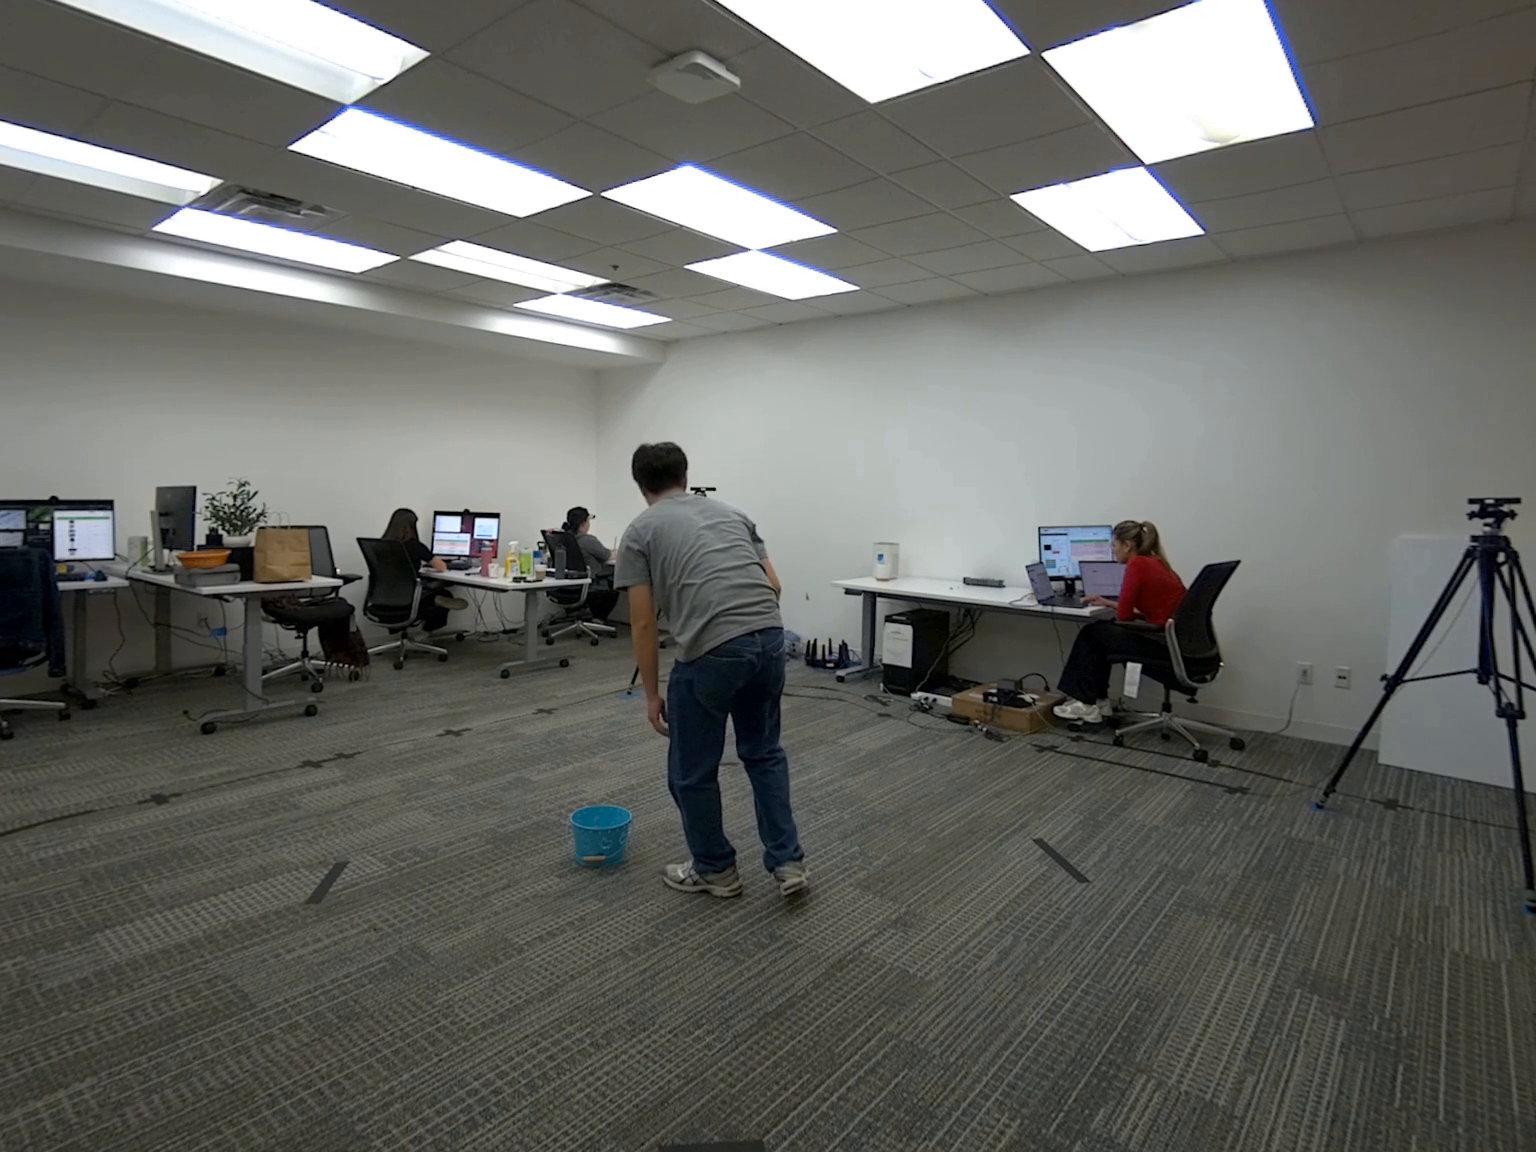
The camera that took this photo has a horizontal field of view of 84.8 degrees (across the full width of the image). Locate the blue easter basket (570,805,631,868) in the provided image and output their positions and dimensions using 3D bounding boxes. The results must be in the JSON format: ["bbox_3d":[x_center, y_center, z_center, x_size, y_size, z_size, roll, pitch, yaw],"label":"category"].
[{"bbox_3d":[-0.641,0.972,3.187,0.243,0.155,0.245,1,5,-2],"label":"blue easter basket"}]
